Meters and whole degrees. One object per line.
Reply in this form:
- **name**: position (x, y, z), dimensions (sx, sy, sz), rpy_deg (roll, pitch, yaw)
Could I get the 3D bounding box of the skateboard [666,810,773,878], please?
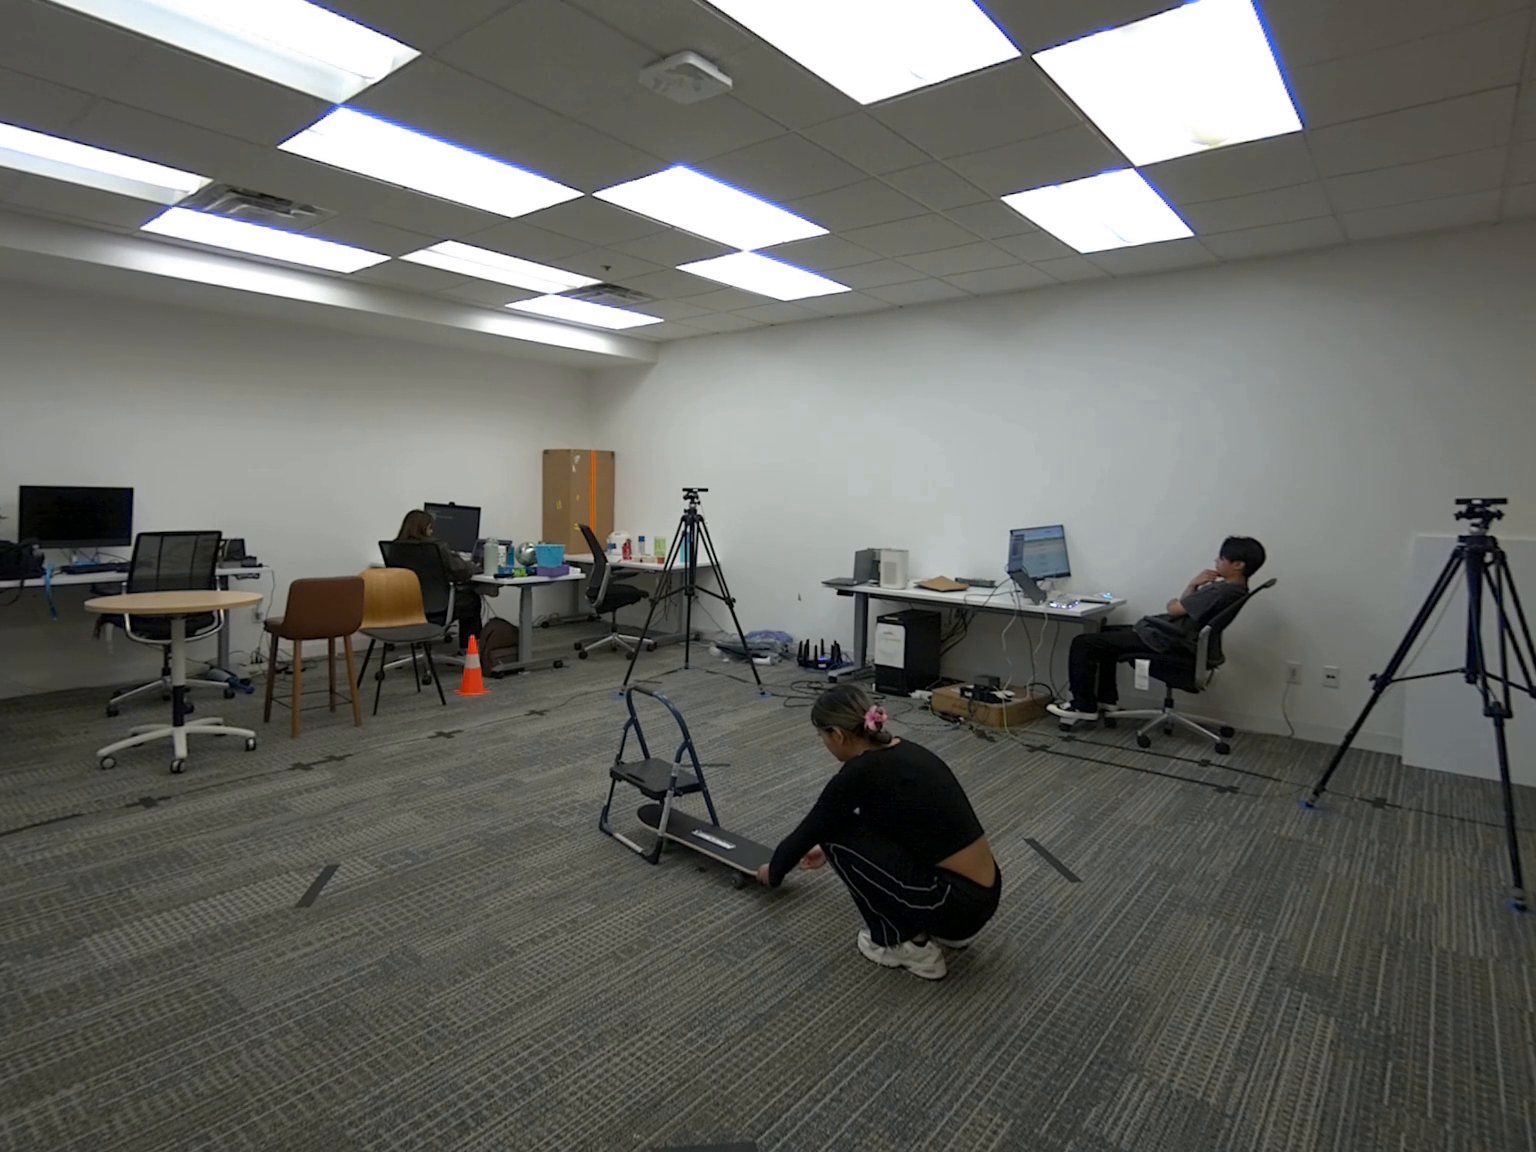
- **skateboard**: position (-0.216, 1.002, 3.158), dimensions (0.813, 0.110, 0.188), rpy_deg (7, 8, 43)
